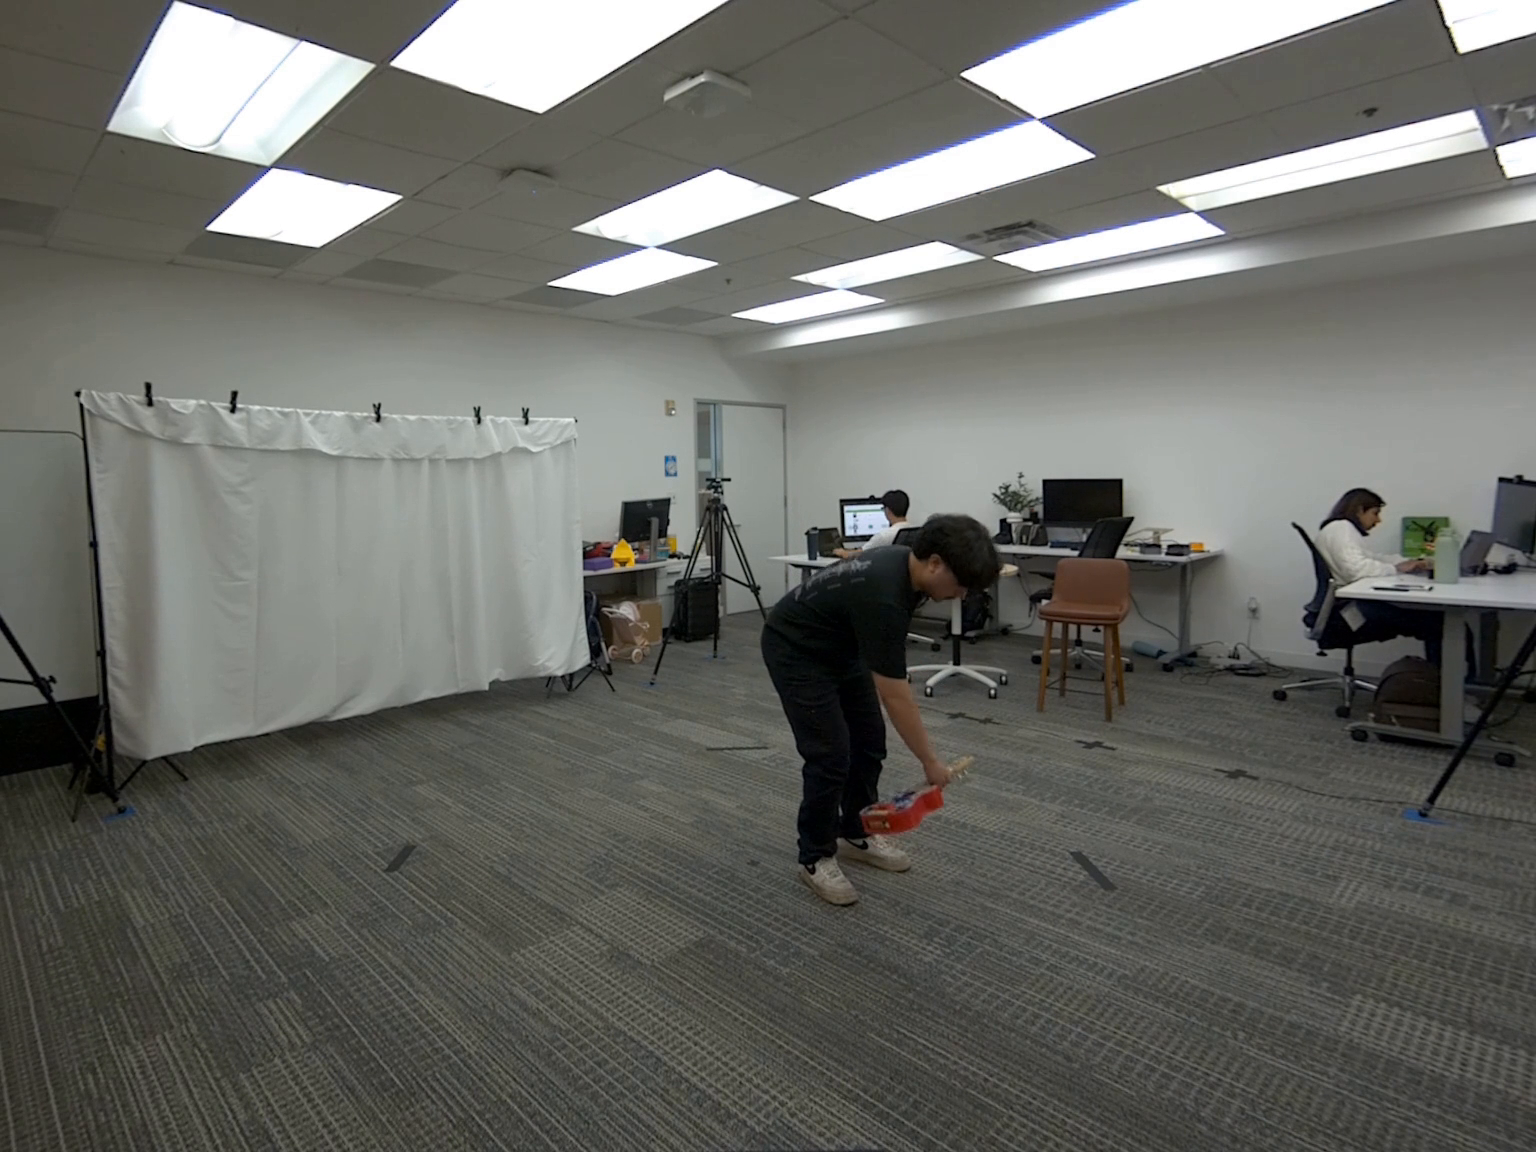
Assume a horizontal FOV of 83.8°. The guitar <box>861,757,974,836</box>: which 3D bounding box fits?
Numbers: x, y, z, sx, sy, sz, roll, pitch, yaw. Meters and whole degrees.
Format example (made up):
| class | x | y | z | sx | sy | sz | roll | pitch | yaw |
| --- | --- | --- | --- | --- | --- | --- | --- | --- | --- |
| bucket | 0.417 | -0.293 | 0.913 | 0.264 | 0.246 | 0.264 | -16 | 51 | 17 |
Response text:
| class | x | y | z | sx | sy | sz | roll | pitch | yaw |
| --- | --- | --- | --- | --- | --- | --- | --- | --- | --- |
| guitar | 0.508 | 0.694 | 2.711 | 0.489 | 0.071 | 0.195 | -17 | -3 | -31 |
